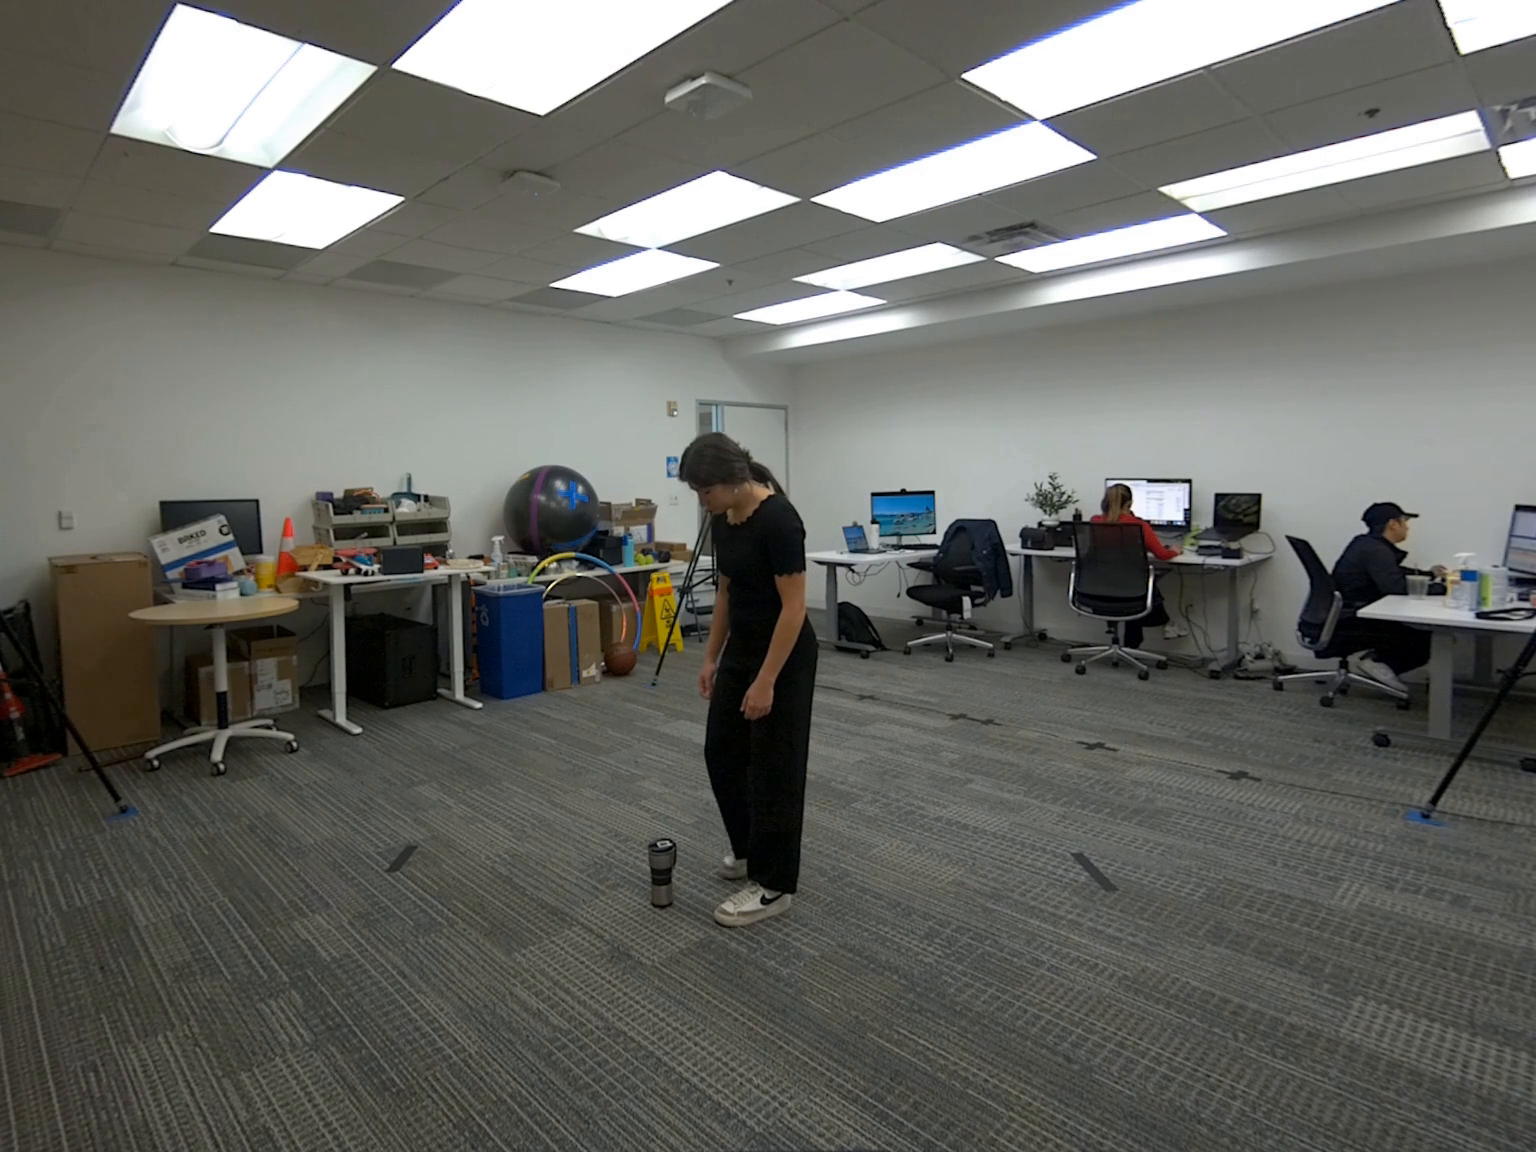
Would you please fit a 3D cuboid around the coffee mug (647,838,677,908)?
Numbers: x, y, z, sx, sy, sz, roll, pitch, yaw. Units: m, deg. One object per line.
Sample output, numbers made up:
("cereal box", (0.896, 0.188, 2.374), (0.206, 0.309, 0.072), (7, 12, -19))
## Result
("coffee mug", (-0.327, 0.981, 2.829), (0.119, 0.202, 0.090), (-8, 5, -39))
